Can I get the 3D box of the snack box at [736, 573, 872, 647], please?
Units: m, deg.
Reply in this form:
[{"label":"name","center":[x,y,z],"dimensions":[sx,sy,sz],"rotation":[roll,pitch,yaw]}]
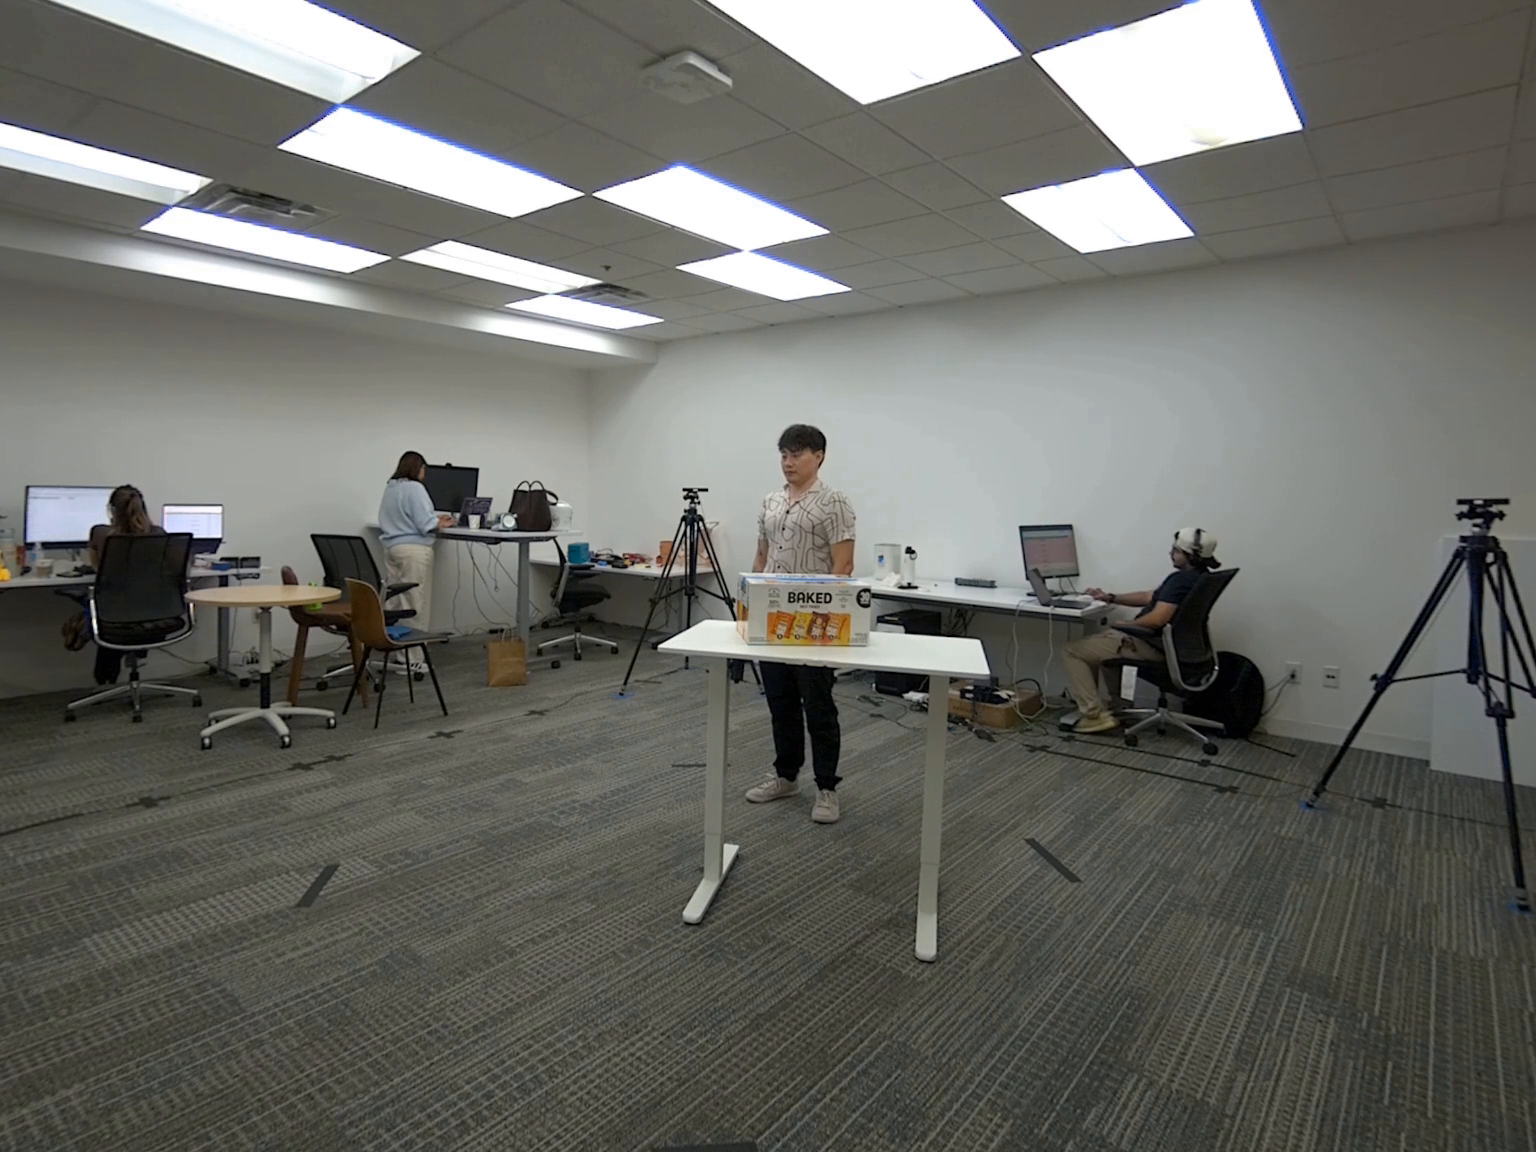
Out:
[{"label":"snack box","center":[0.104,0.106,2.940],"dimensions":[0.403,0.205,0.344],"rotation":[2,5,-6]}]
